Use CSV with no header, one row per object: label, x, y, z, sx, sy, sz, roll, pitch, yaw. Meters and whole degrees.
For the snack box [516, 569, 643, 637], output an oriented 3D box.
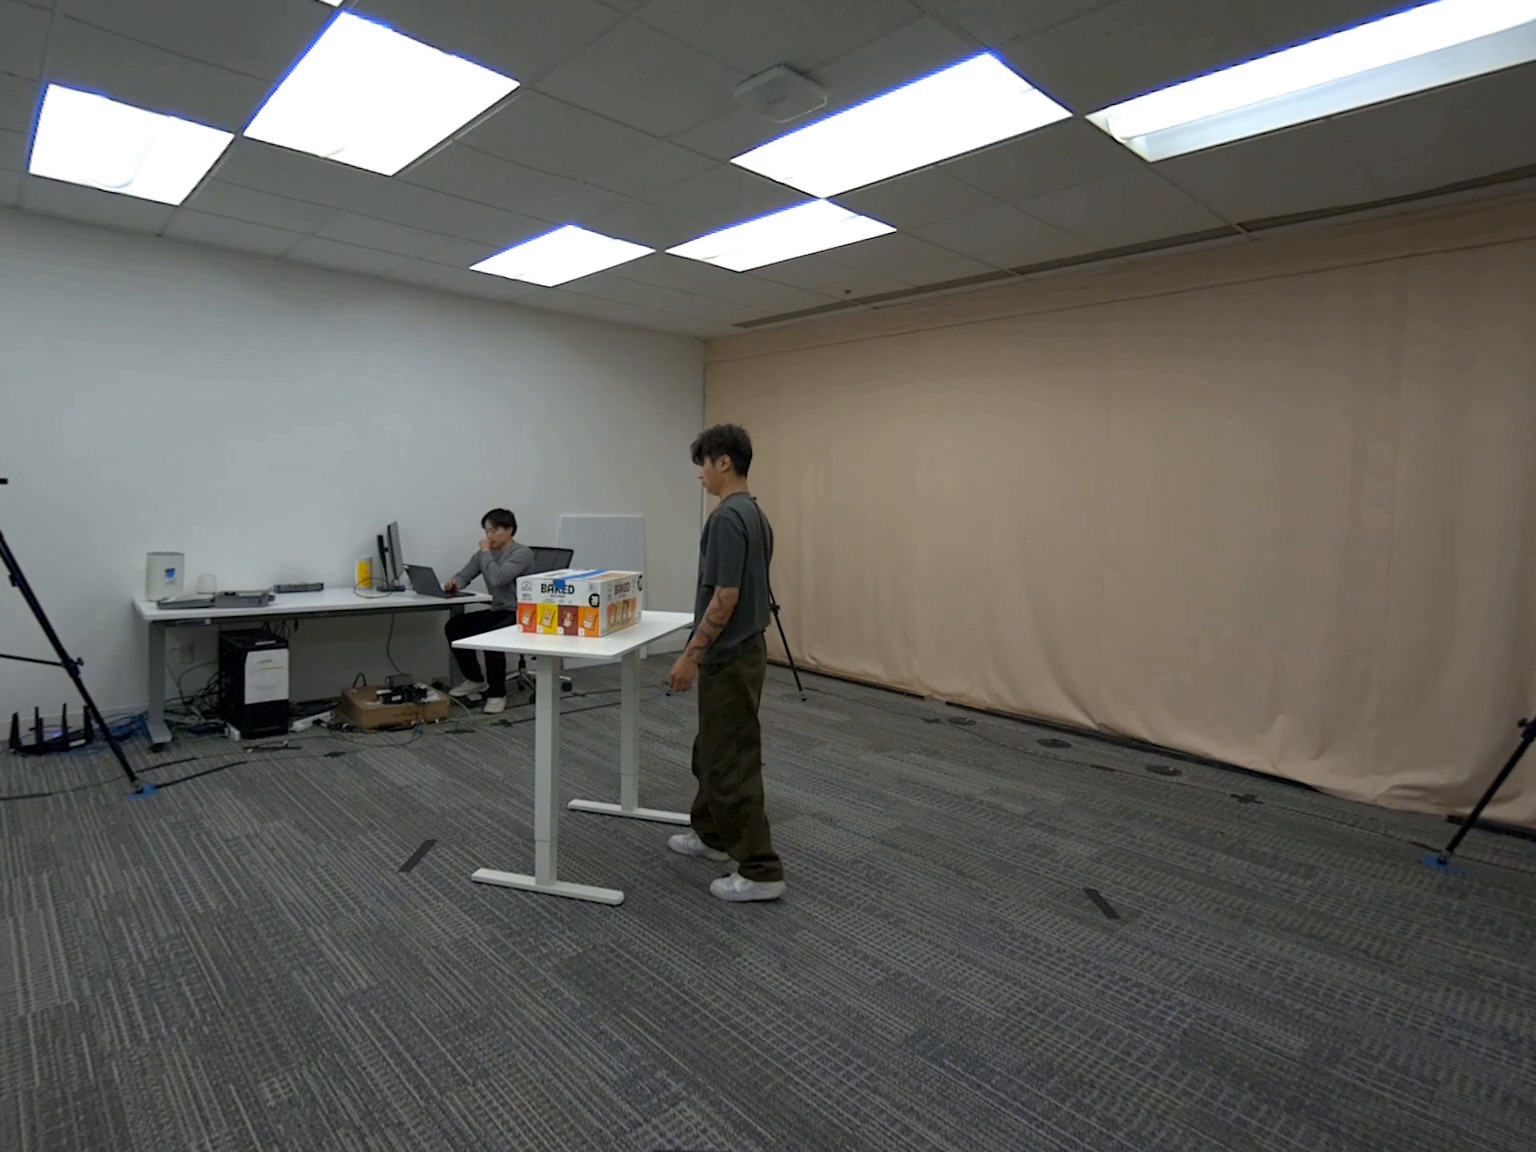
snack box,-0.722,0.096,3.259,0.344,0.205,0.401,3,5,14
